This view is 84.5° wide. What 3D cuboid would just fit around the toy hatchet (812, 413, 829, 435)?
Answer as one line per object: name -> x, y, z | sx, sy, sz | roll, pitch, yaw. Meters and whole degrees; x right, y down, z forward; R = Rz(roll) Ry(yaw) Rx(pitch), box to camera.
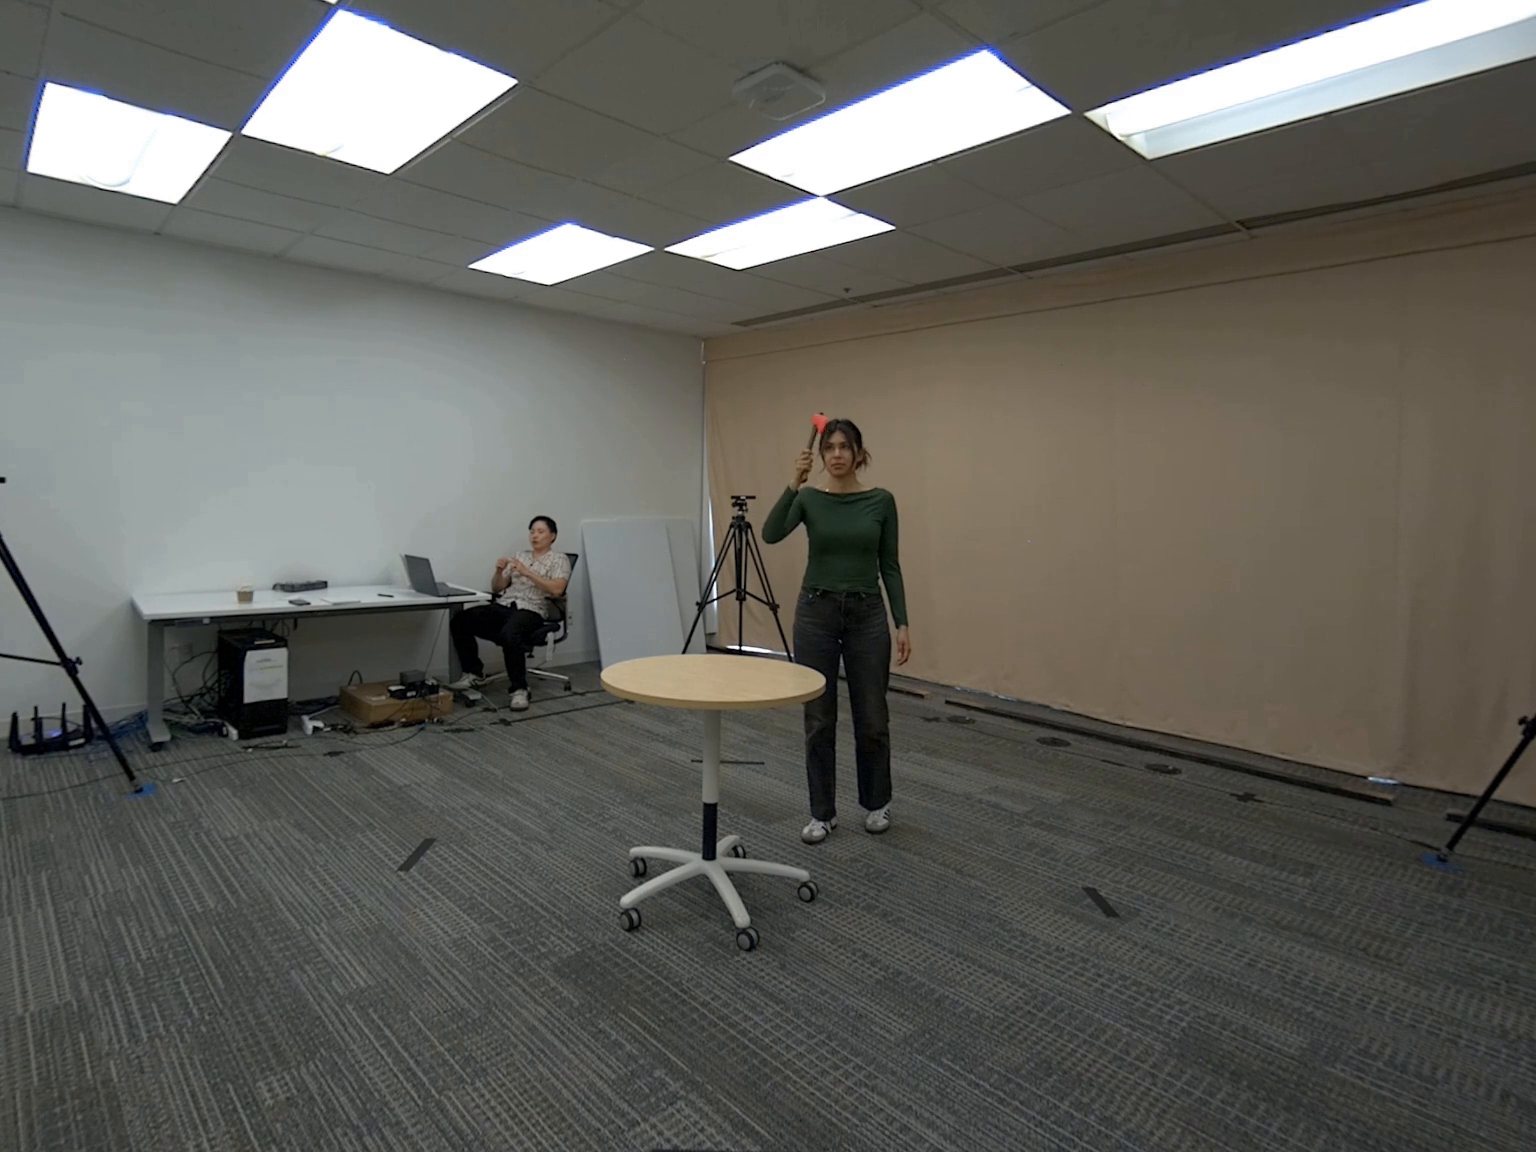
toy hatchet -> 0.174, -0.485, 3.143 | 0.029, 0.272, 0.133 | 17, -13, -24
